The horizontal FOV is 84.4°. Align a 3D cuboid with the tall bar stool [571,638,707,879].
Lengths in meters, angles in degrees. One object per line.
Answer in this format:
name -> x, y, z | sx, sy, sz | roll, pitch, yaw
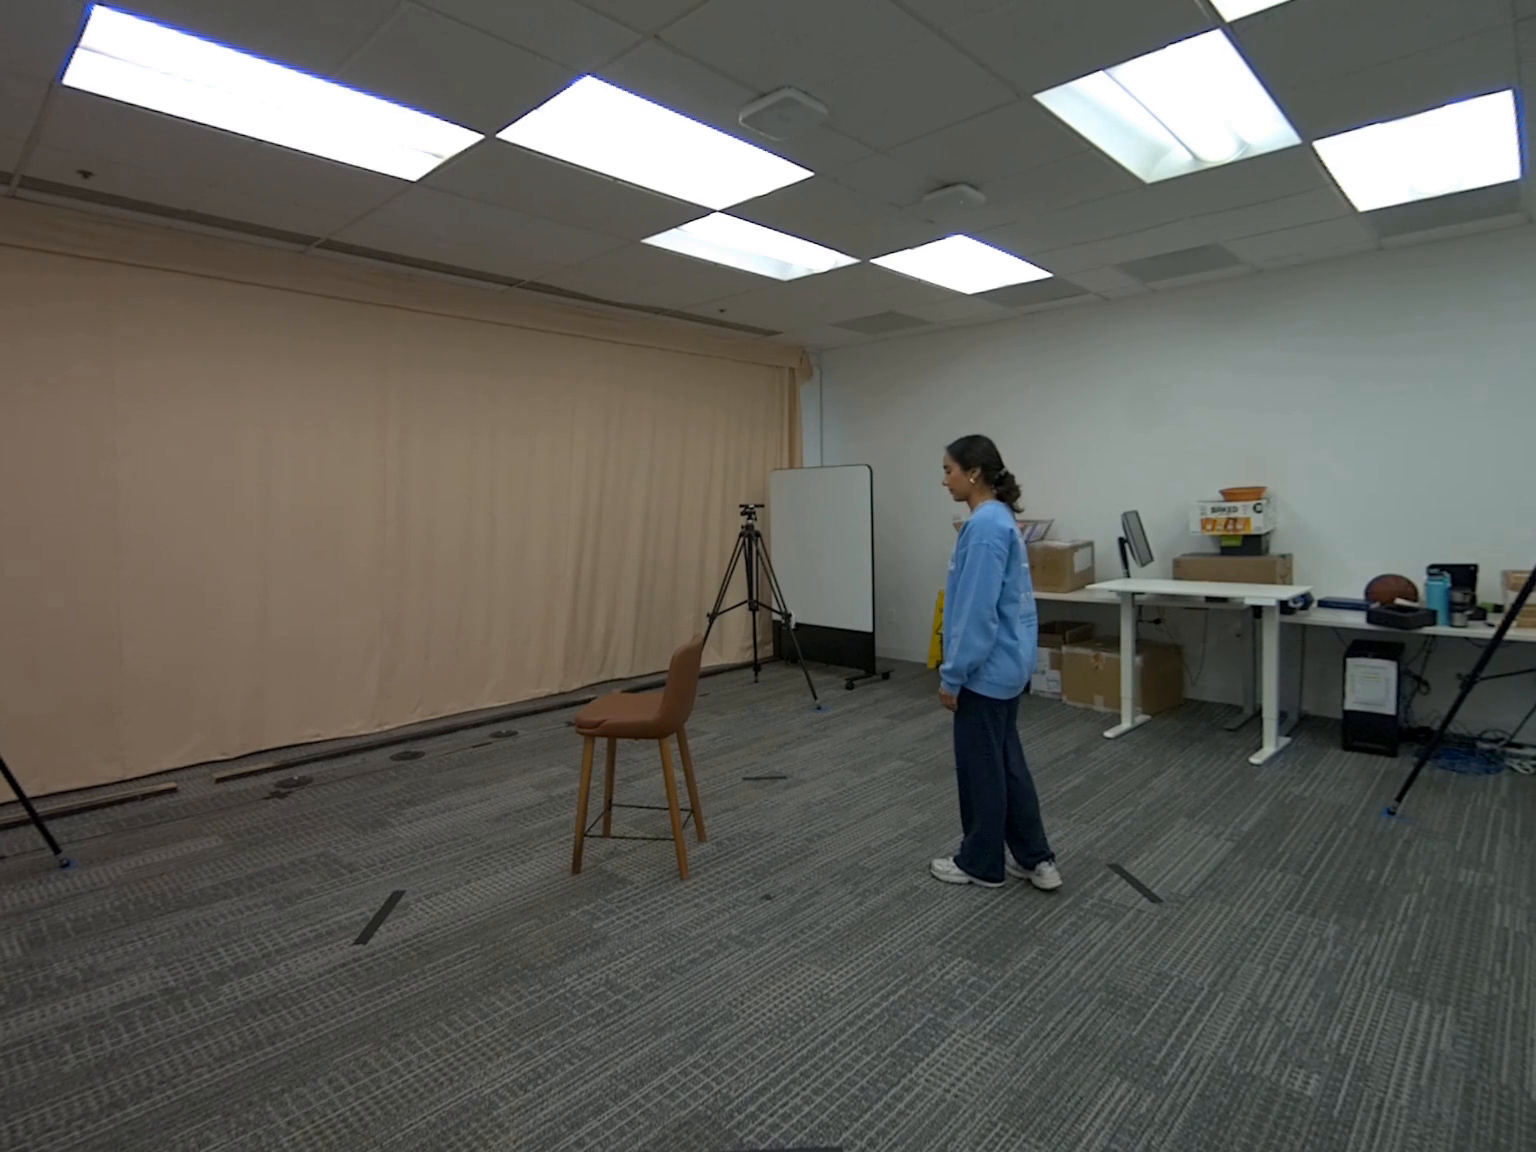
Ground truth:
tall bar stool -> -0.502, 0.686, 3.345 | 0.473, 0.888, 0.452 | 1, 3, 9
